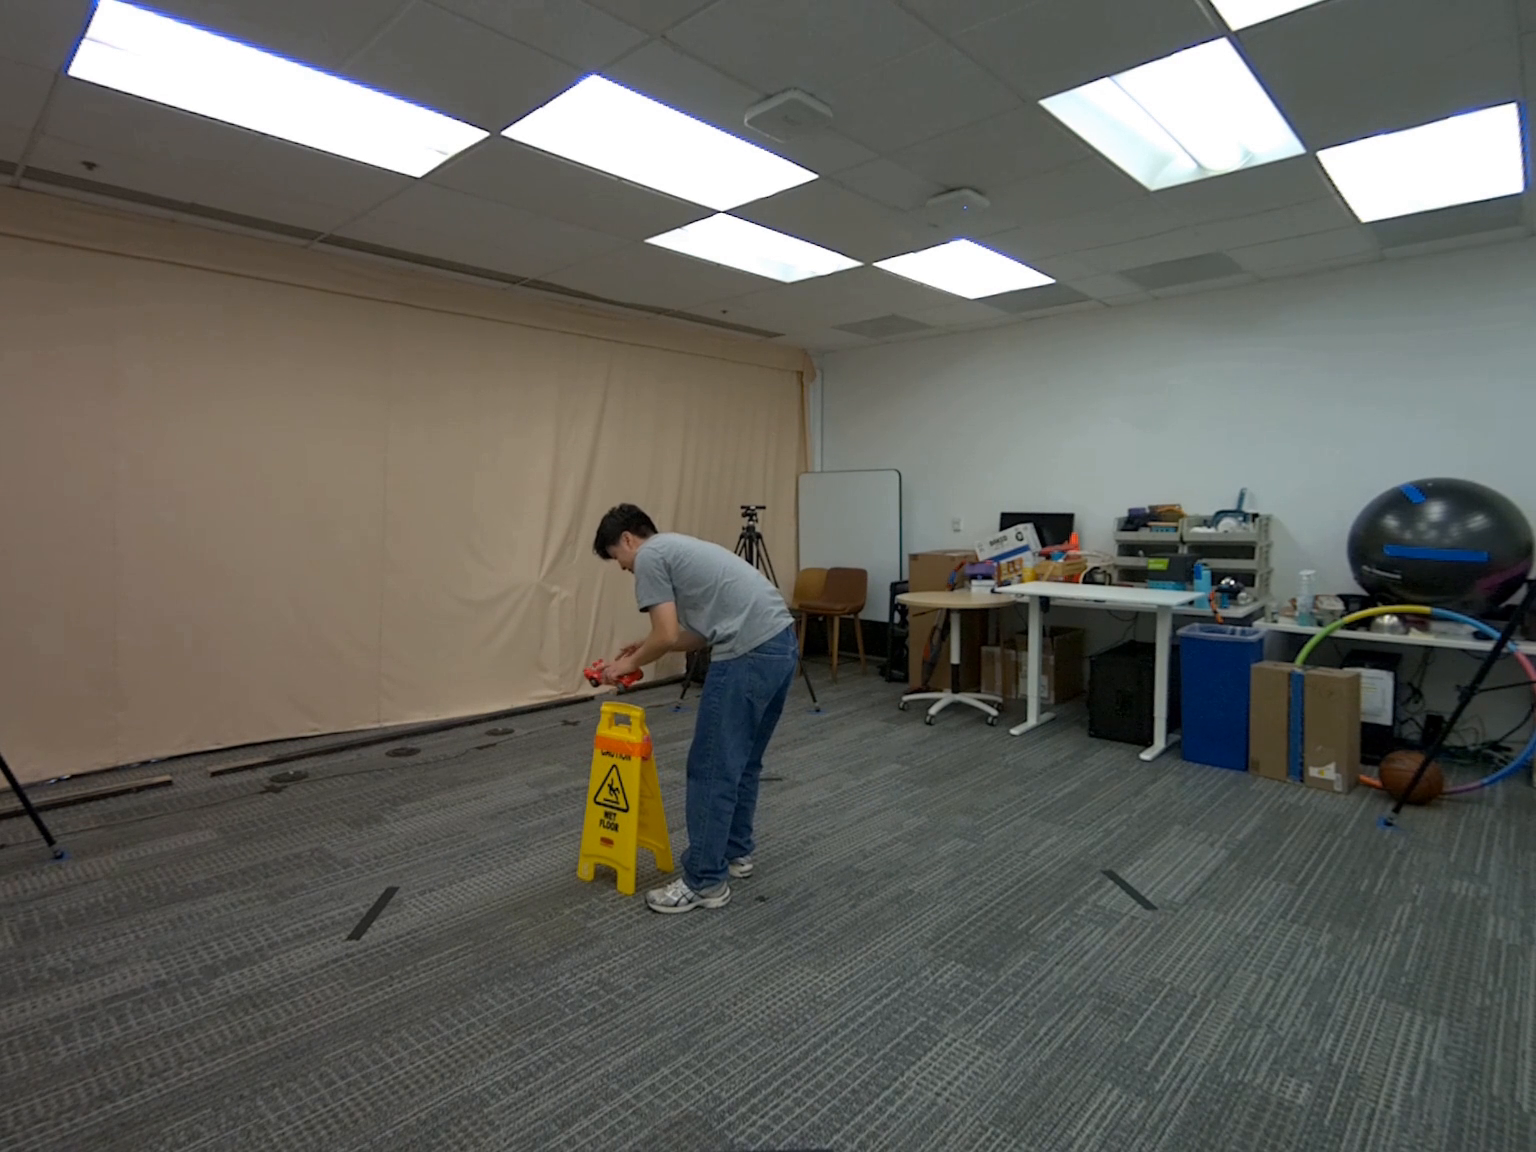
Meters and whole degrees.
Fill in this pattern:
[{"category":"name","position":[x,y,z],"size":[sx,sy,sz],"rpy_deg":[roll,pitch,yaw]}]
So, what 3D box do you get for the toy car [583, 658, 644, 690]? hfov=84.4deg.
[{"category":"toy car","position":[-0.596,0.397,3.220],"size":[0.263,0.082,0.128],"rpy_deg":[13,29,33]}]
